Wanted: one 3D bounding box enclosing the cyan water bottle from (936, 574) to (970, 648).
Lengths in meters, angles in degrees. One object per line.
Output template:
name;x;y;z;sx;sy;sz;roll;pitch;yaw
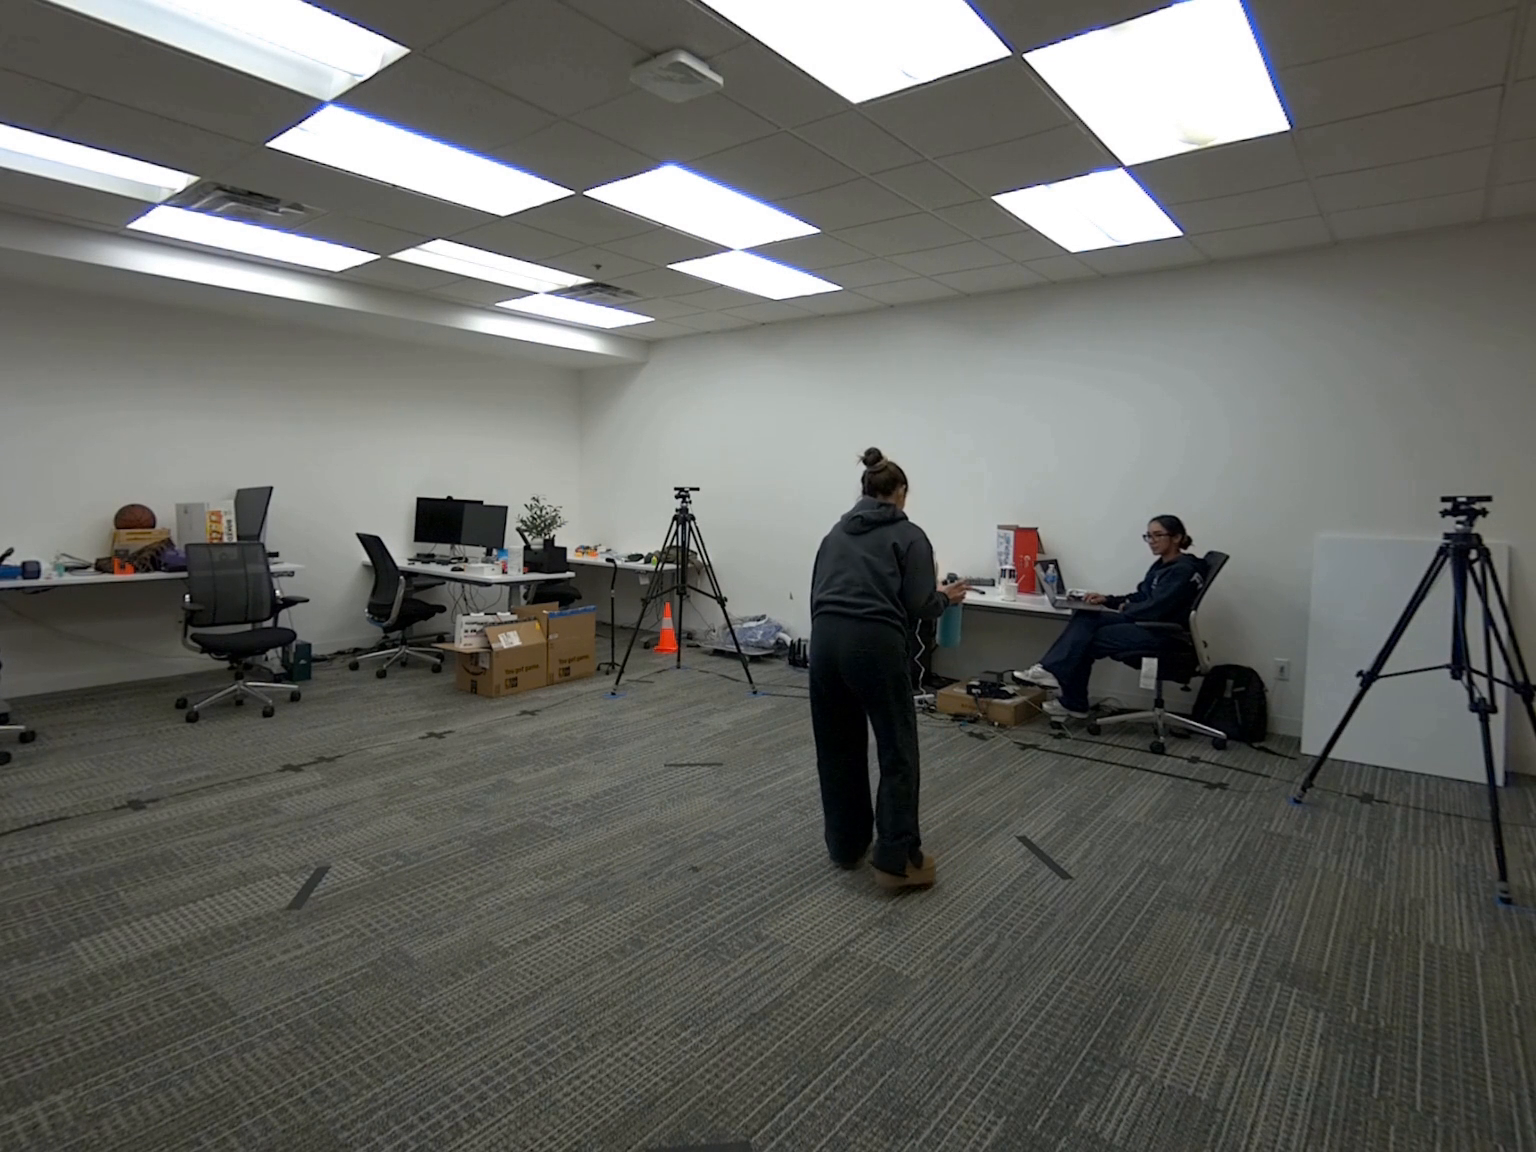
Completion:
cyan water bottle;0.706;0.139;3.301;0.092;0.279;0.094;1;18;-2
